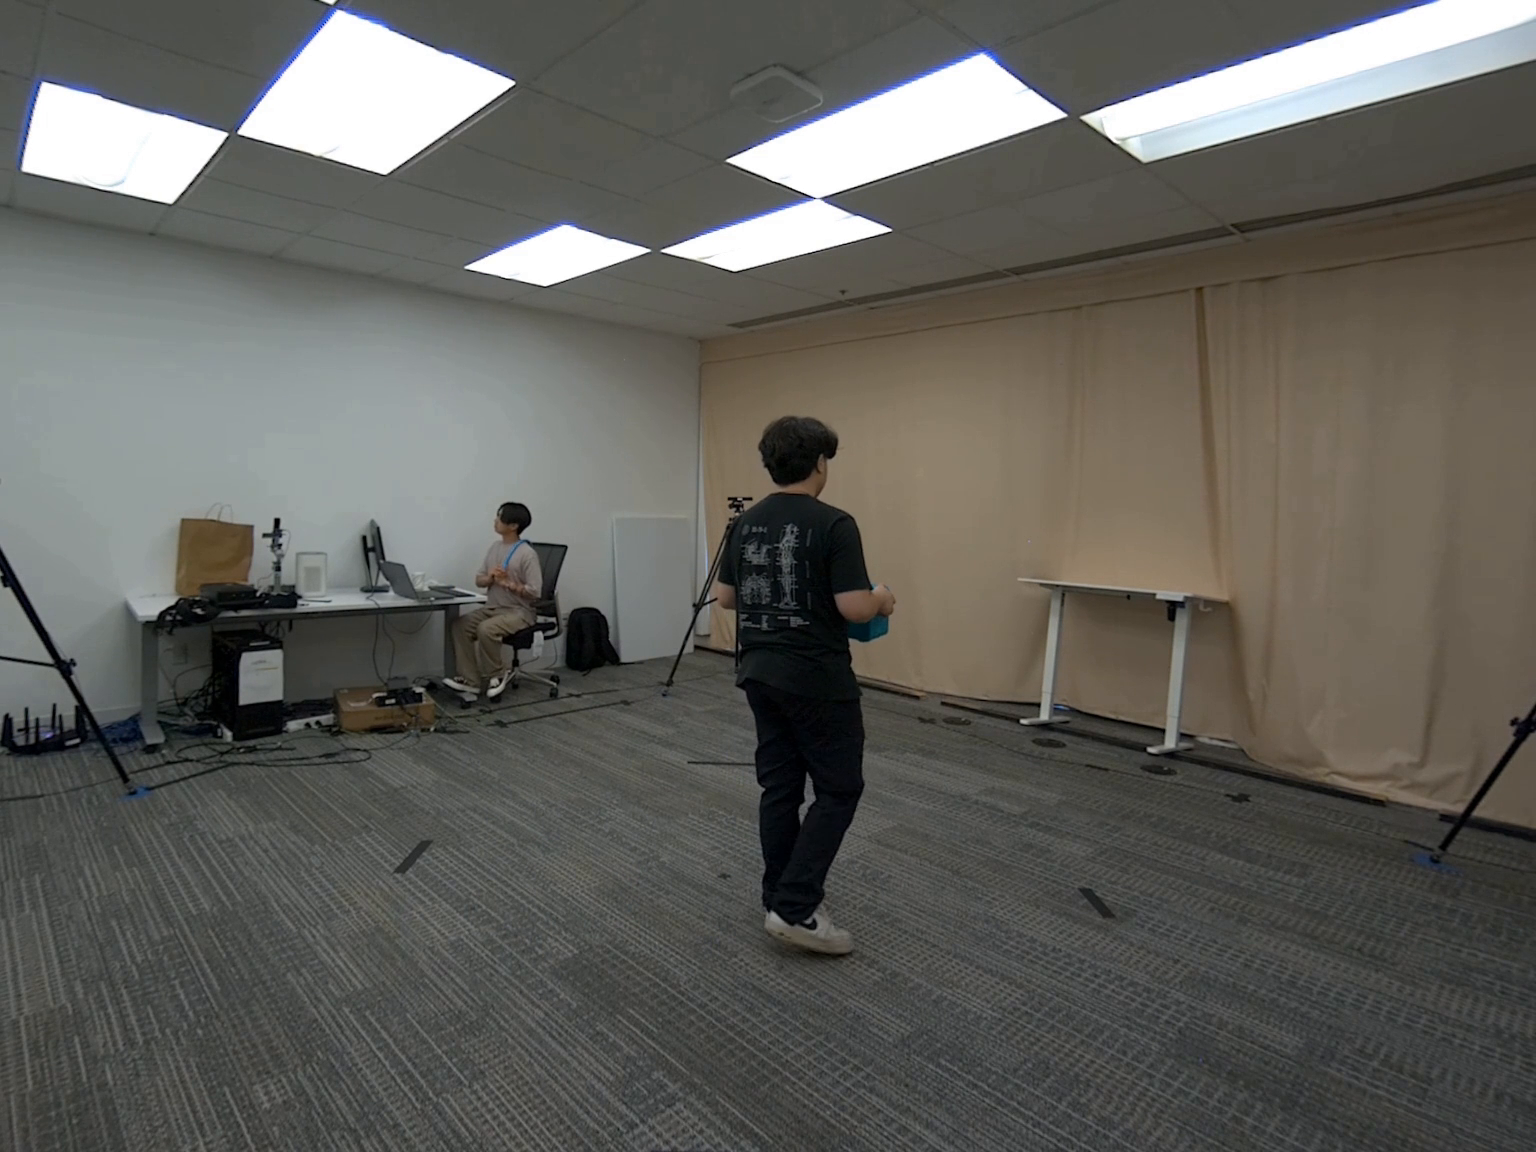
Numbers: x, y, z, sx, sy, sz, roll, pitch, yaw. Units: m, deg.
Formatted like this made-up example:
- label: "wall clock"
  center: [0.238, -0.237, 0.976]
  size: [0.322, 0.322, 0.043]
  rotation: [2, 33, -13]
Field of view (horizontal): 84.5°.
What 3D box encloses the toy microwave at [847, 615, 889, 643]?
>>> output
- label: "toy microwave"
  center: [0.271, 0.118, 2.911]
  size: [0.294, 0.183, 0.149]
  rotation: [8, 11, 39]
